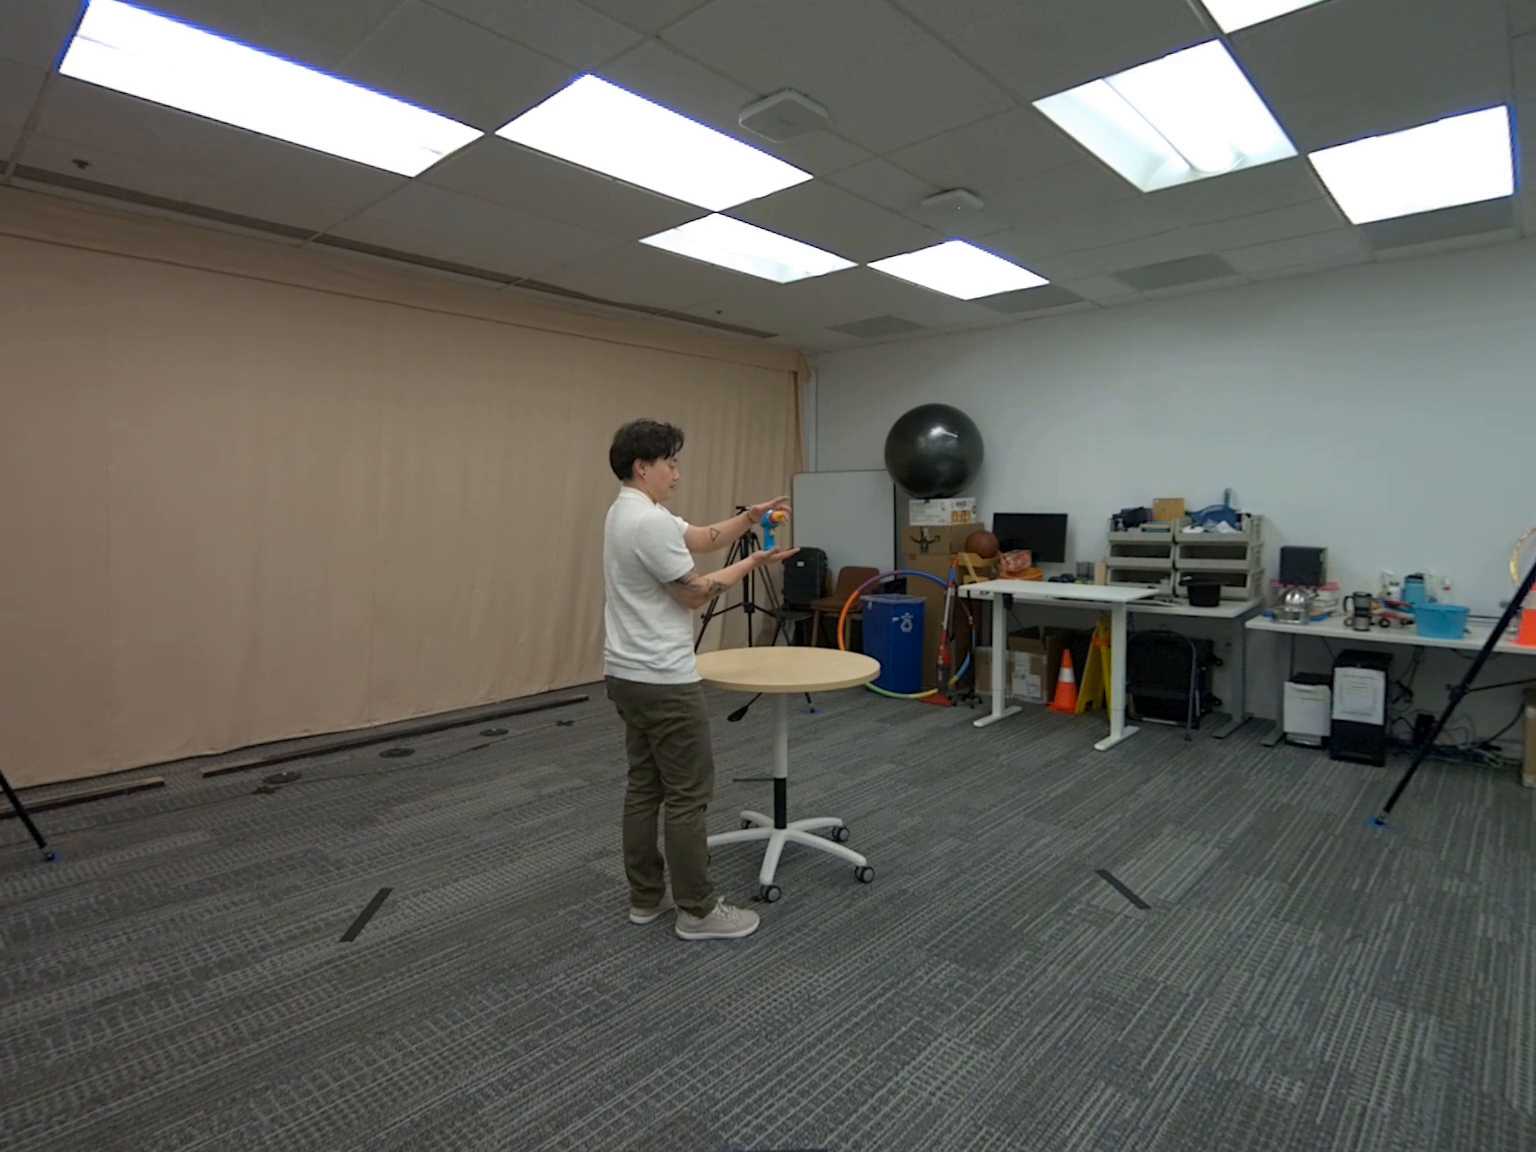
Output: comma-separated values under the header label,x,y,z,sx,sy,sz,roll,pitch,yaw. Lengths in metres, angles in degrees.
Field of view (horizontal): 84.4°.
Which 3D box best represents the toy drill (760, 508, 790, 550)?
label,x,y,z,sx,sy,sz,roll,pitch,yaw
toy drill,0.028,-0.151,2.812,0.060,0.147,0.172,1,-8,-20
